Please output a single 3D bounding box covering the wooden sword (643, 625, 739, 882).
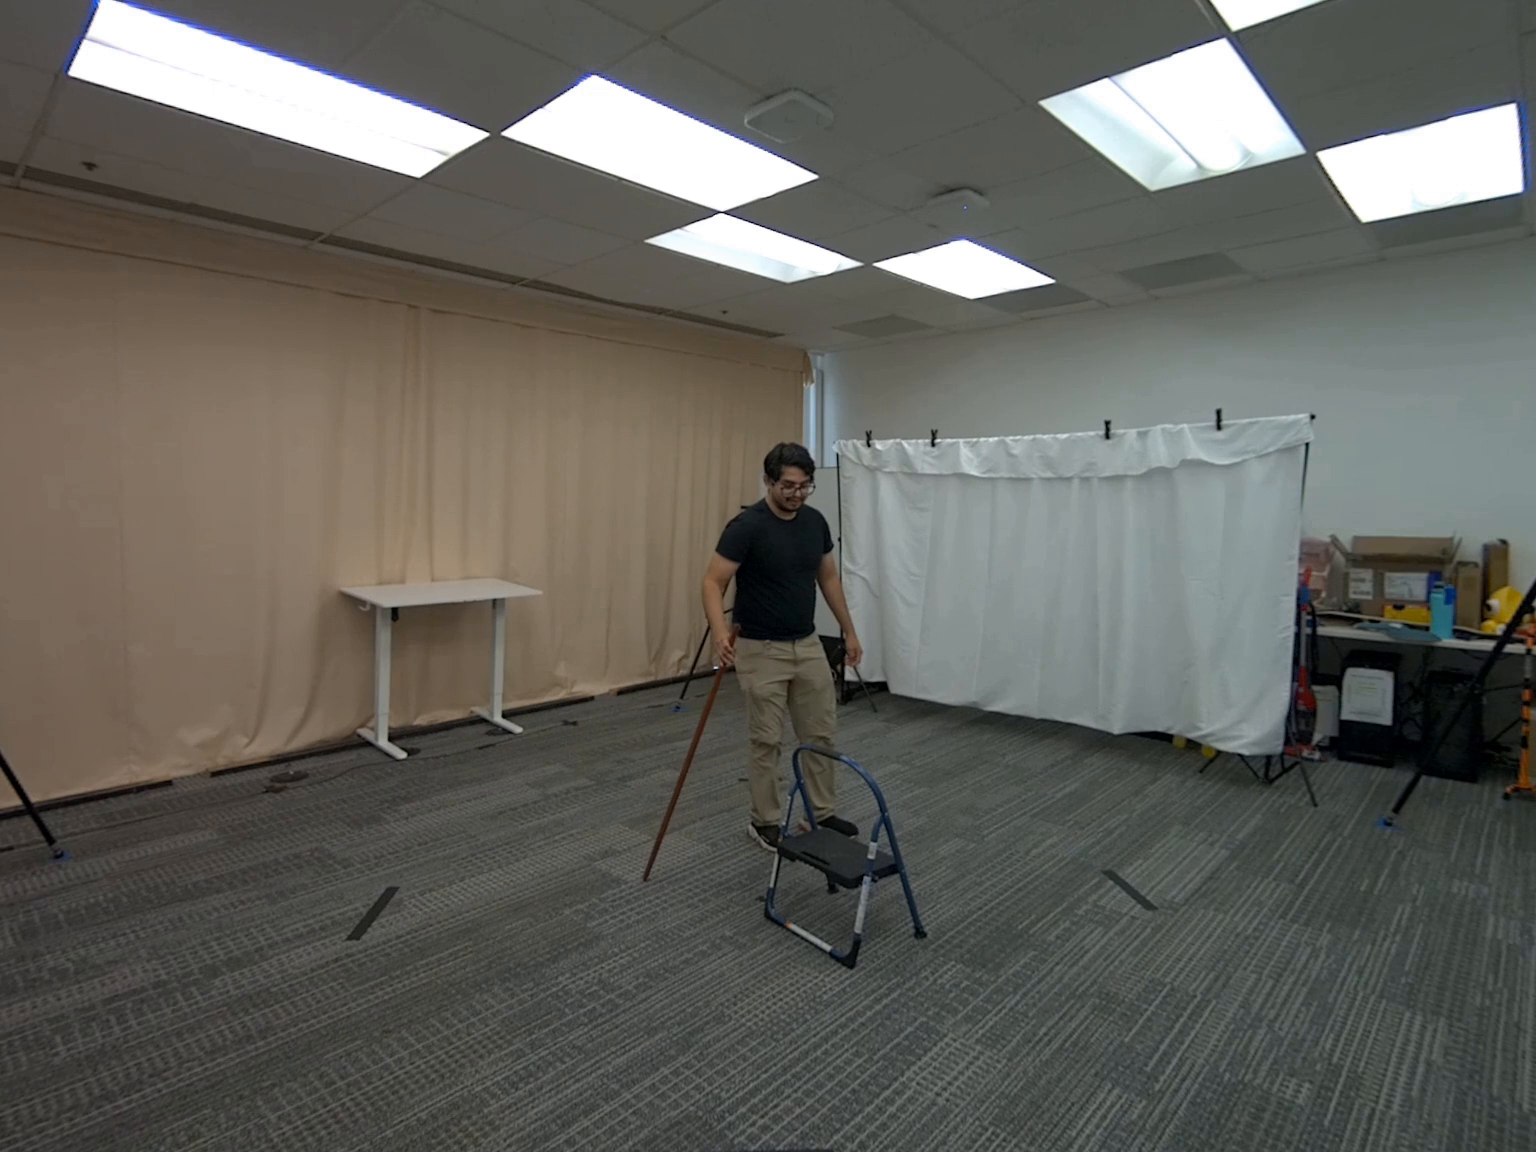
[{"bbox_3d":[-0.291,0.677,3.099,0.052,1.023,0.024,22,5,8],"label":"wooden sword"}]
